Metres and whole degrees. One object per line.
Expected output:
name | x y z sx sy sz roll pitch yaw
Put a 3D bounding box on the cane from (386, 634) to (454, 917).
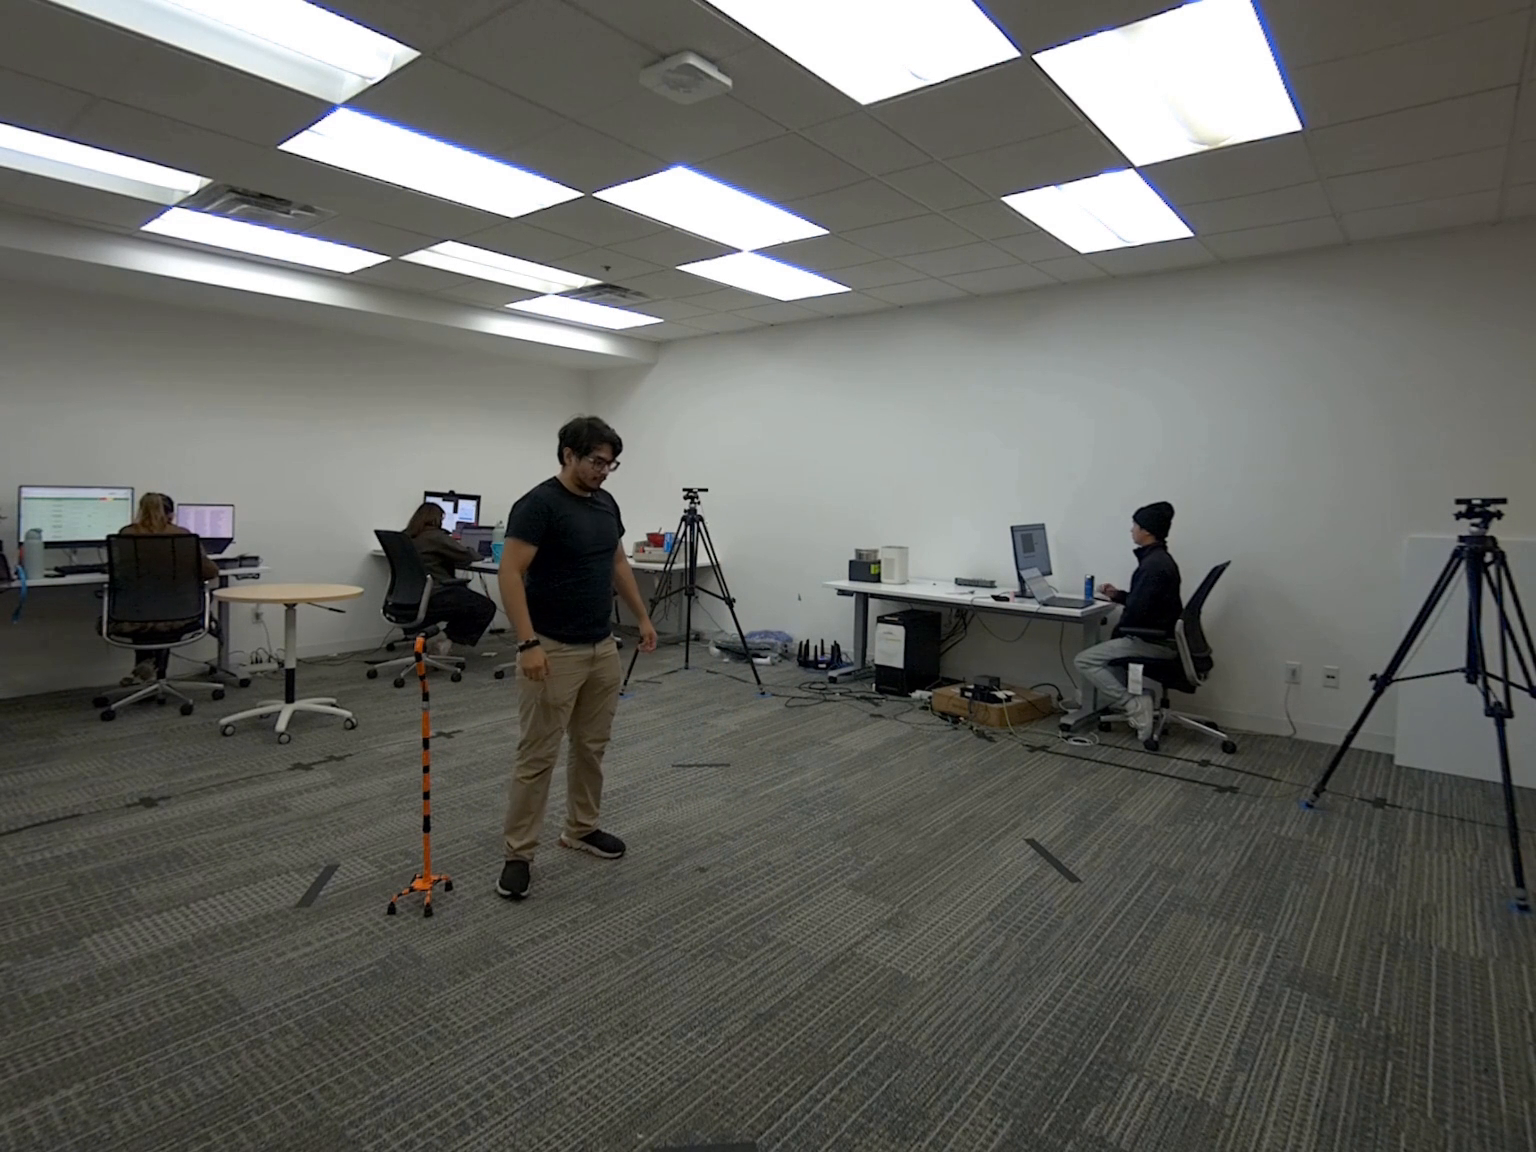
cane | -1.170 0.635 2.811 0.152 0.905 0.207 0 3 -1
